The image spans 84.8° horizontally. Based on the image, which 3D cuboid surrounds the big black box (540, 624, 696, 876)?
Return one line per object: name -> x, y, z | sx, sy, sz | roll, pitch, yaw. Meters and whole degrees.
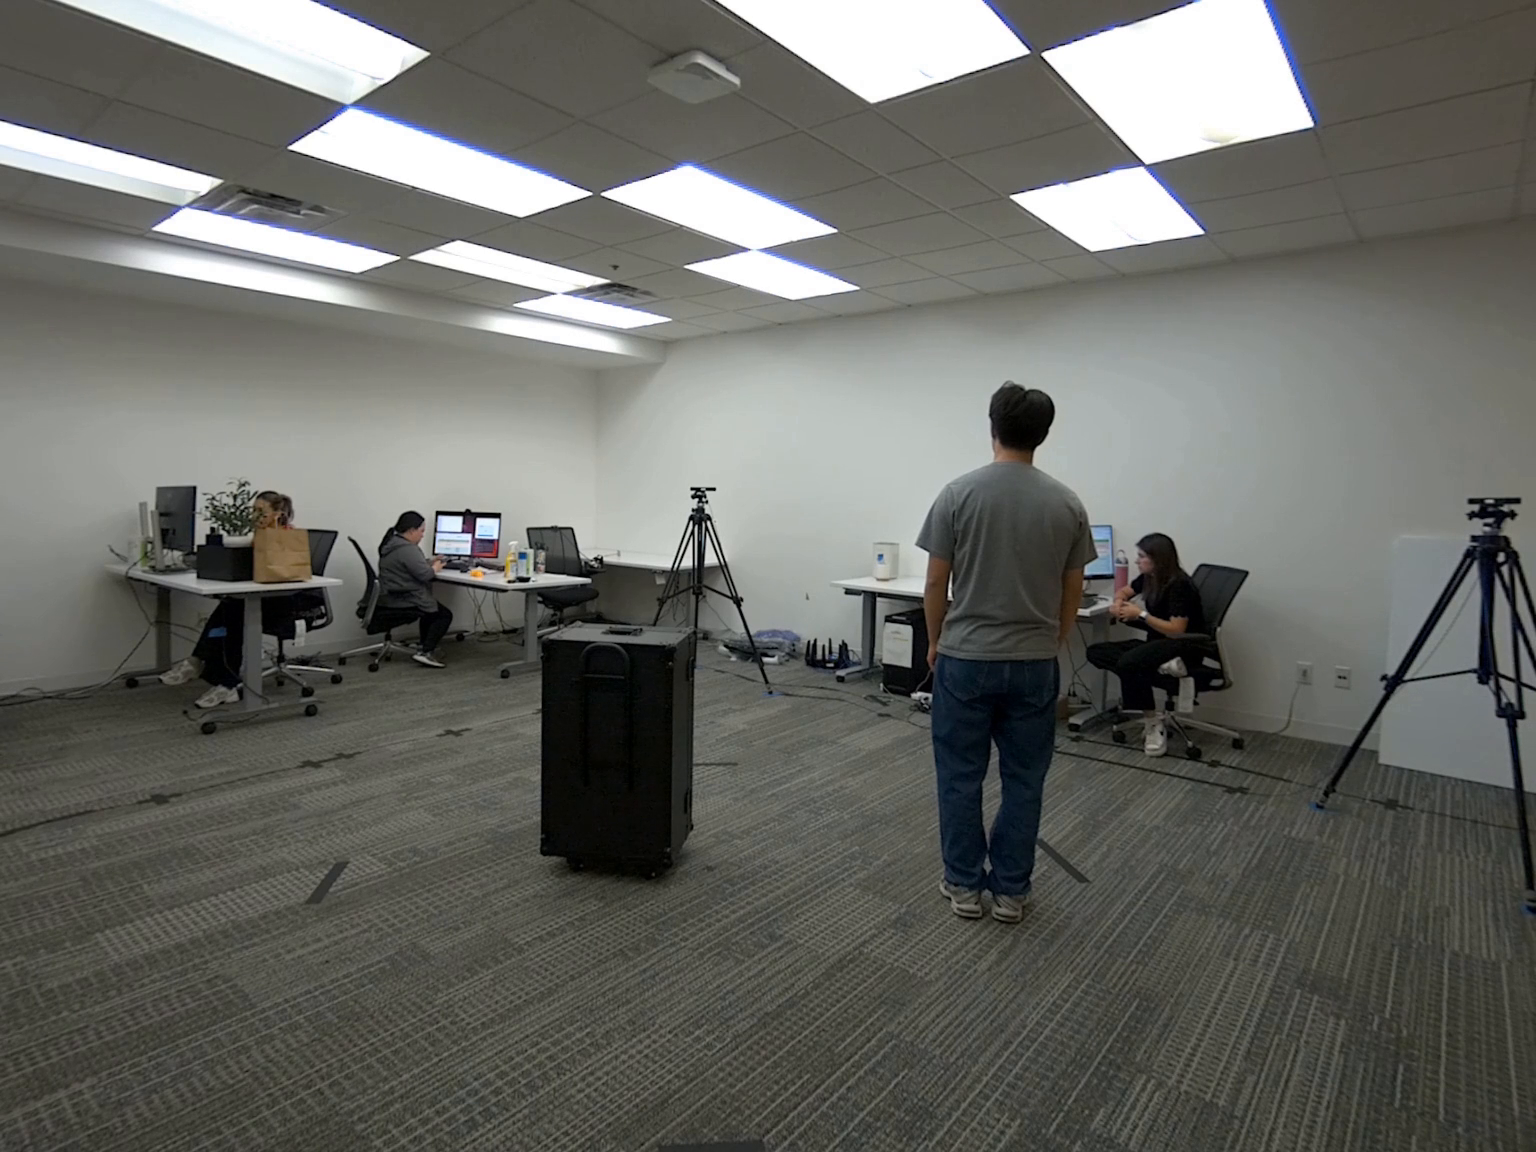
big black box -> -0.553, 0.630, 3.130 | 0.528, 0.858, 0.393 | 2, 4, 10
